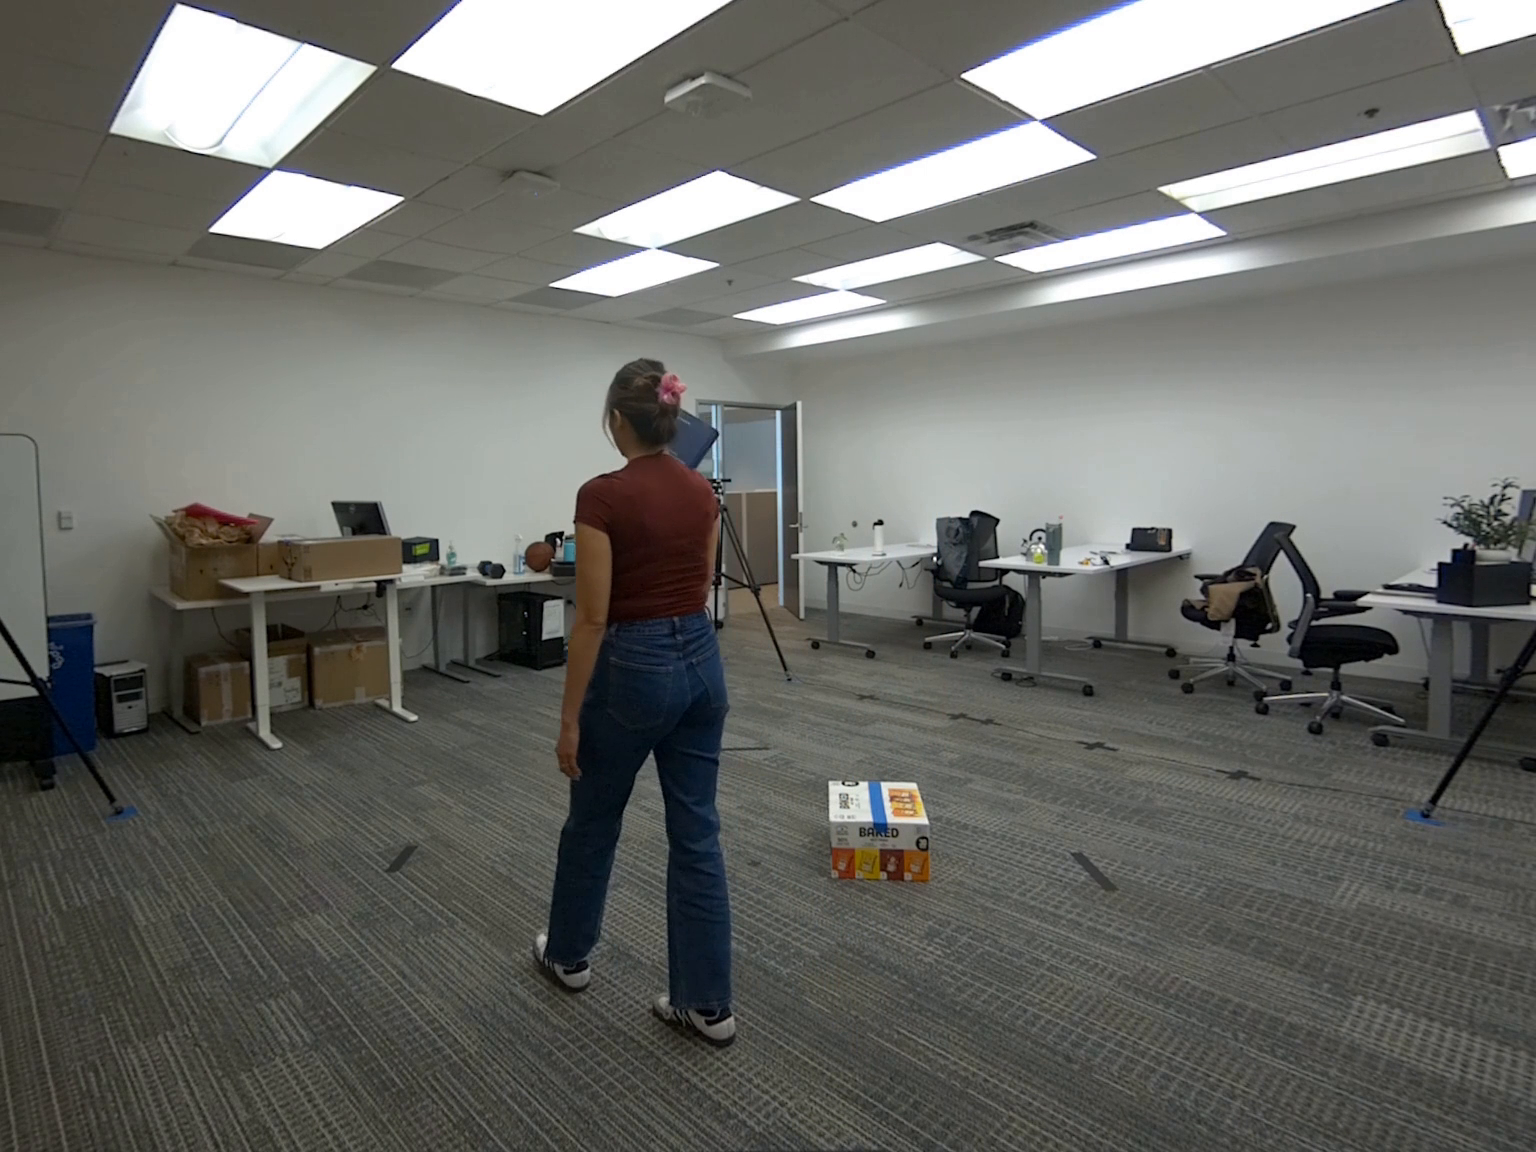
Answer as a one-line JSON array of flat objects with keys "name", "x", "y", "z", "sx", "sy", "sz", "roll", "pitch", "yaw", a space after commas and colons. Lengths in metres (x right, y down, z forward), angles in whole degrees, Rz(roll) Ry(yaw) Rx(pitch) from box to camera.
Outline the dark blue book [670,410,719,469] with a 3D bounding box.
[{"name": "dark blue book", "x": -0.283, "y": -0.370, "z": 2.540, "sx": 0.166, "sy": 0.245, "sz": 0.044, "roll": 31, "pitch": -11, "yaw": 13}]
